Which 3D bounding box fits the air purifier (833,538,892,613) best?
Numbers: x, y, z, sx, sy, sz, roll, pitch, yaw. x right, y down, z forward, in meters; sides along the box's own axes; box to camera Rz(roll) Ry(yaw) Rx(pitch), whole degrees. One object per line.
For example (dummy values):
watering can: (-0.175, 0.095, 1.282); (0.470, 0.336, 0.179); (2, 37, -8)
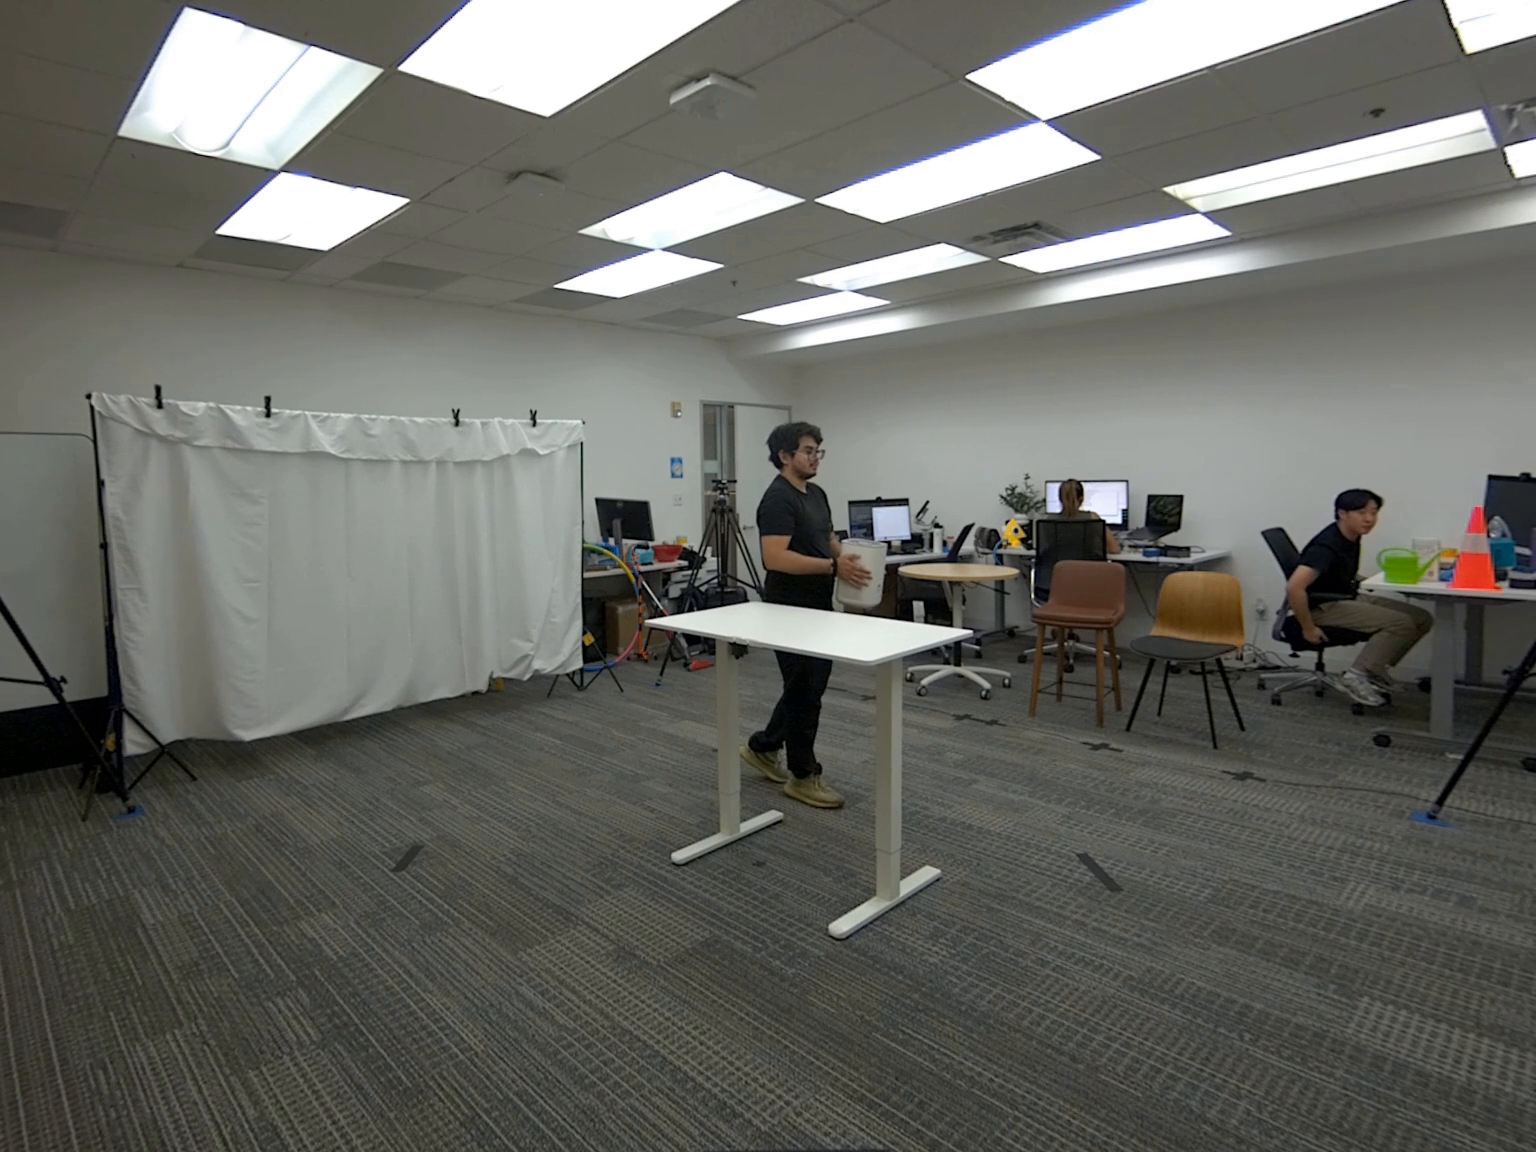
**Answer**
air purifier: (0.391, -0.007, 3.576); (0.176, 0.263, 0.168); (10, 10, 25)
